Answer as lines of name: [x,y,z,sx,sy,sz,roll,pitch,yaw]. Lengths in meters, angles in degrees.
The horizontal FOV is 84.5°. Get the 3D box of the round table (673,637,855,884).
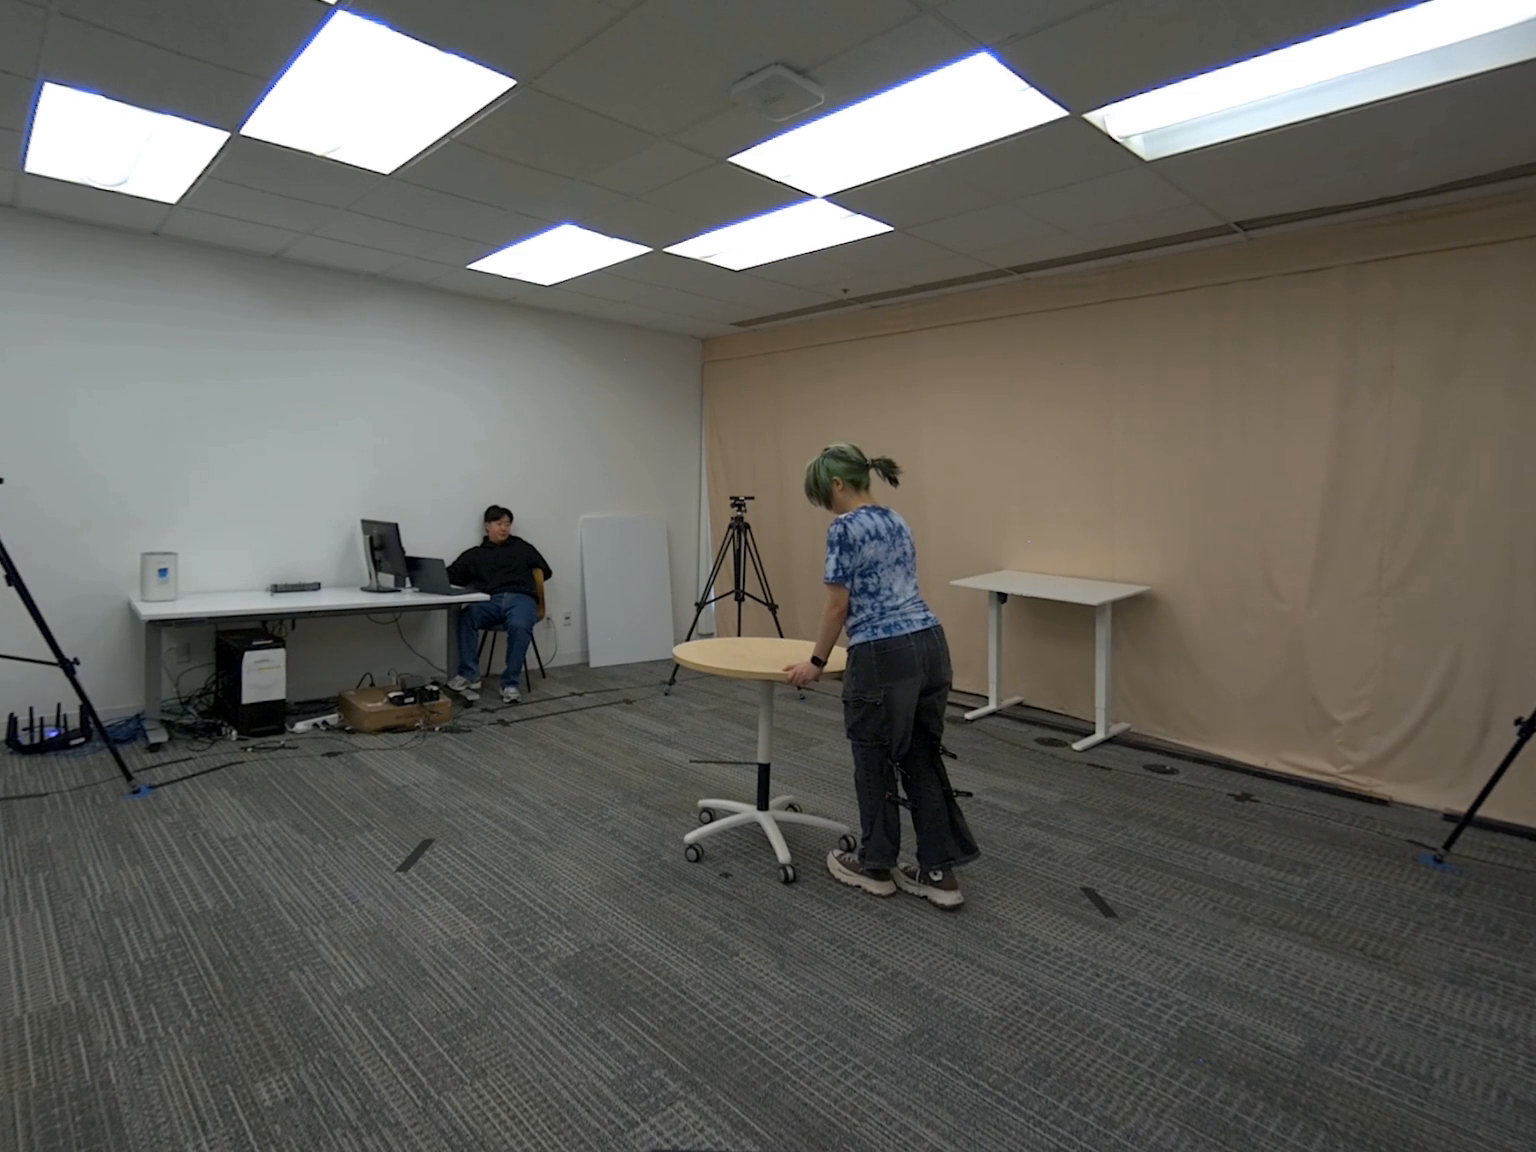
round table: [-0.019,0.696,3.382,0.763,0.792,0.766,2,4,-2]
